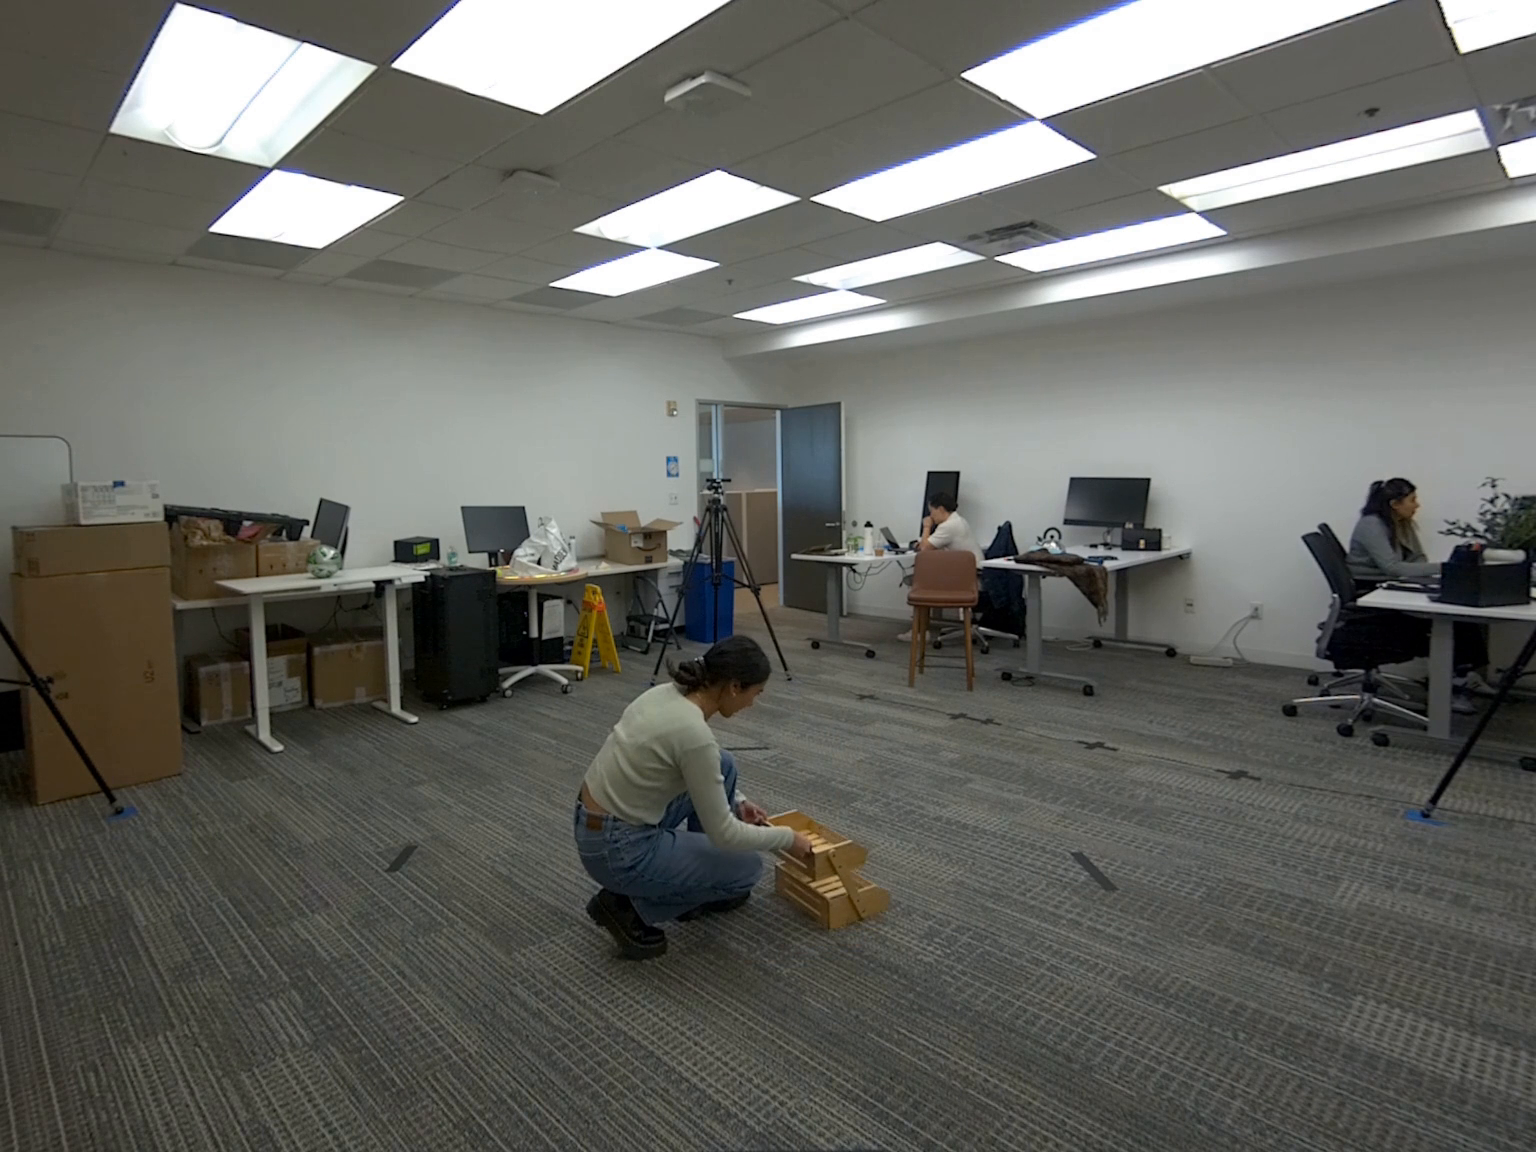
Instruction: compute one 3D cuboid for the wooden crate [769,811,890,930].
[{"bbox_3d":[0.194,0.939,2.808,0.295,0.272,0.334,-5,7,-32],"label":"wooden crate"}]
